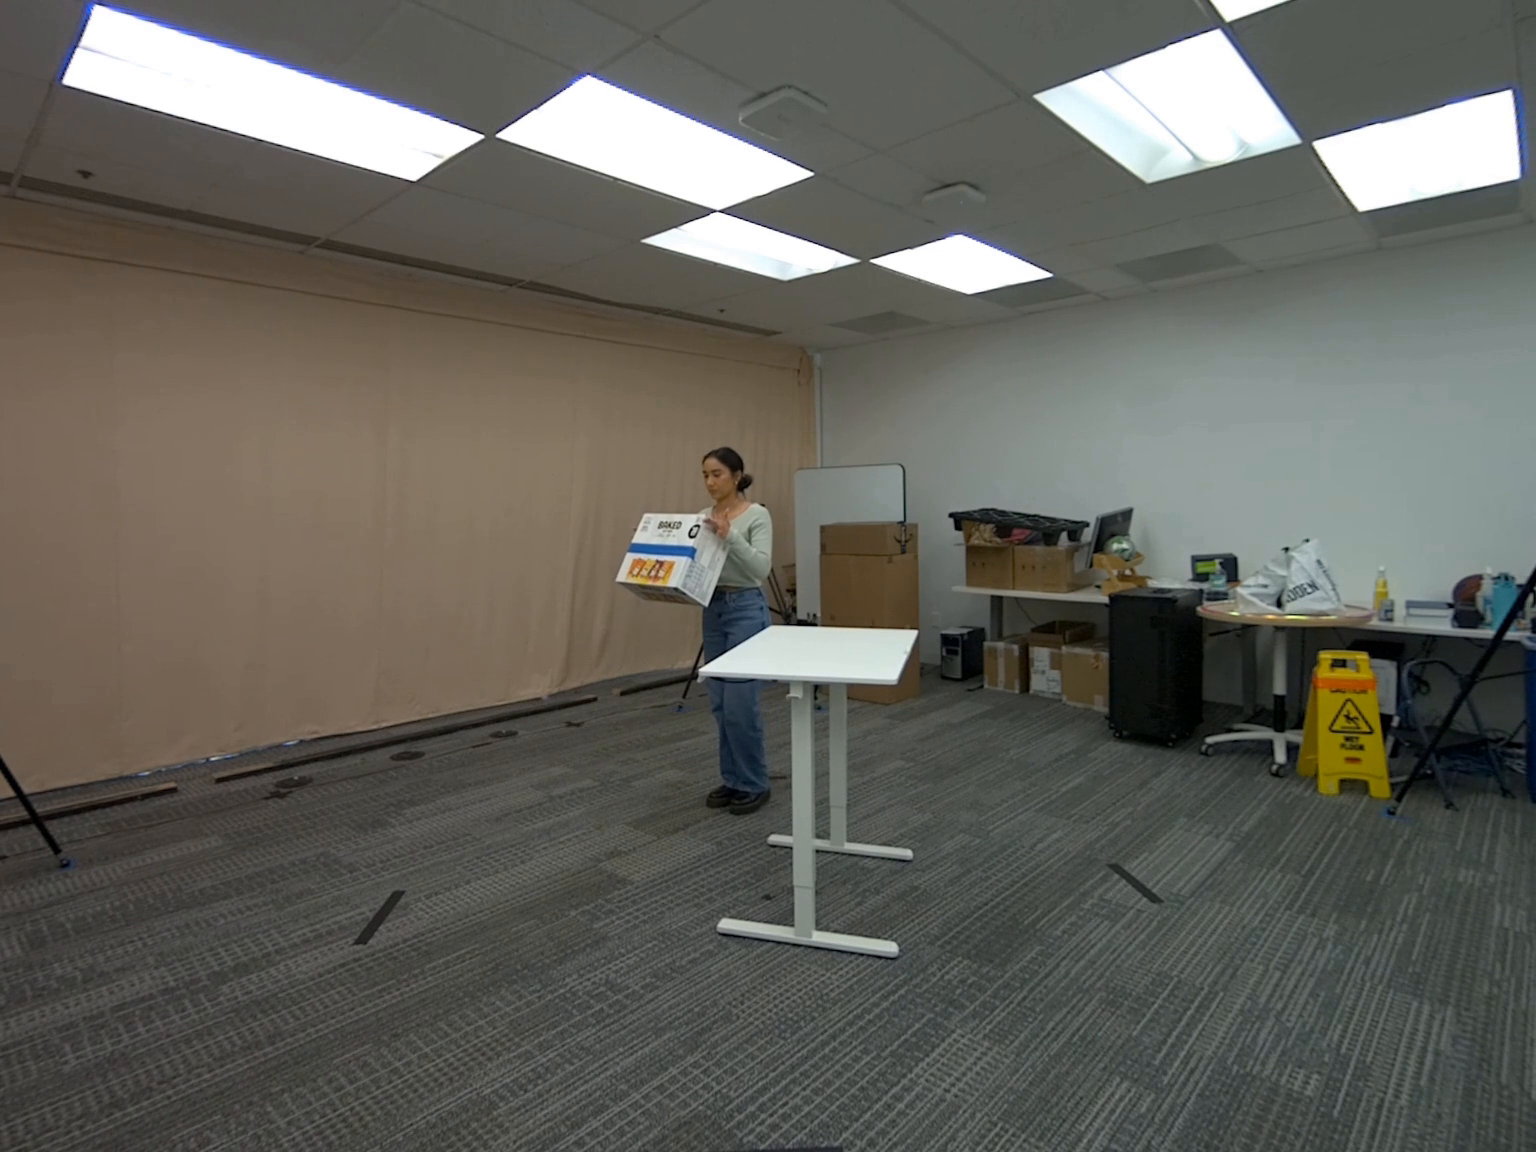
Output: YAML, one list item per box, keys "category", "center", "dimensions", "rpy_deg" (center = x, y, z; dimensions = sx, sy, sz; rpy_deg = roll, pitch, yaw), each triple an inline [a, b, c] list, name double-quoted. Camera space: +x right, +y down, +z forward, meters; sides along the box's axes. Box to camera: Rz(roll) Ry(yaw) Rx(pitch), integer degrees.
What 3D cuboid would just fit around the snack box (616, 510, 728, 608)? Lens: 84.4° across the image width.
- category: "snack box"
  center: [-0.404, -0.075, 3.670]
  dimensions: [0.419, 0.341, 0.198]
  rpy_deg: [4, -24, 42]
